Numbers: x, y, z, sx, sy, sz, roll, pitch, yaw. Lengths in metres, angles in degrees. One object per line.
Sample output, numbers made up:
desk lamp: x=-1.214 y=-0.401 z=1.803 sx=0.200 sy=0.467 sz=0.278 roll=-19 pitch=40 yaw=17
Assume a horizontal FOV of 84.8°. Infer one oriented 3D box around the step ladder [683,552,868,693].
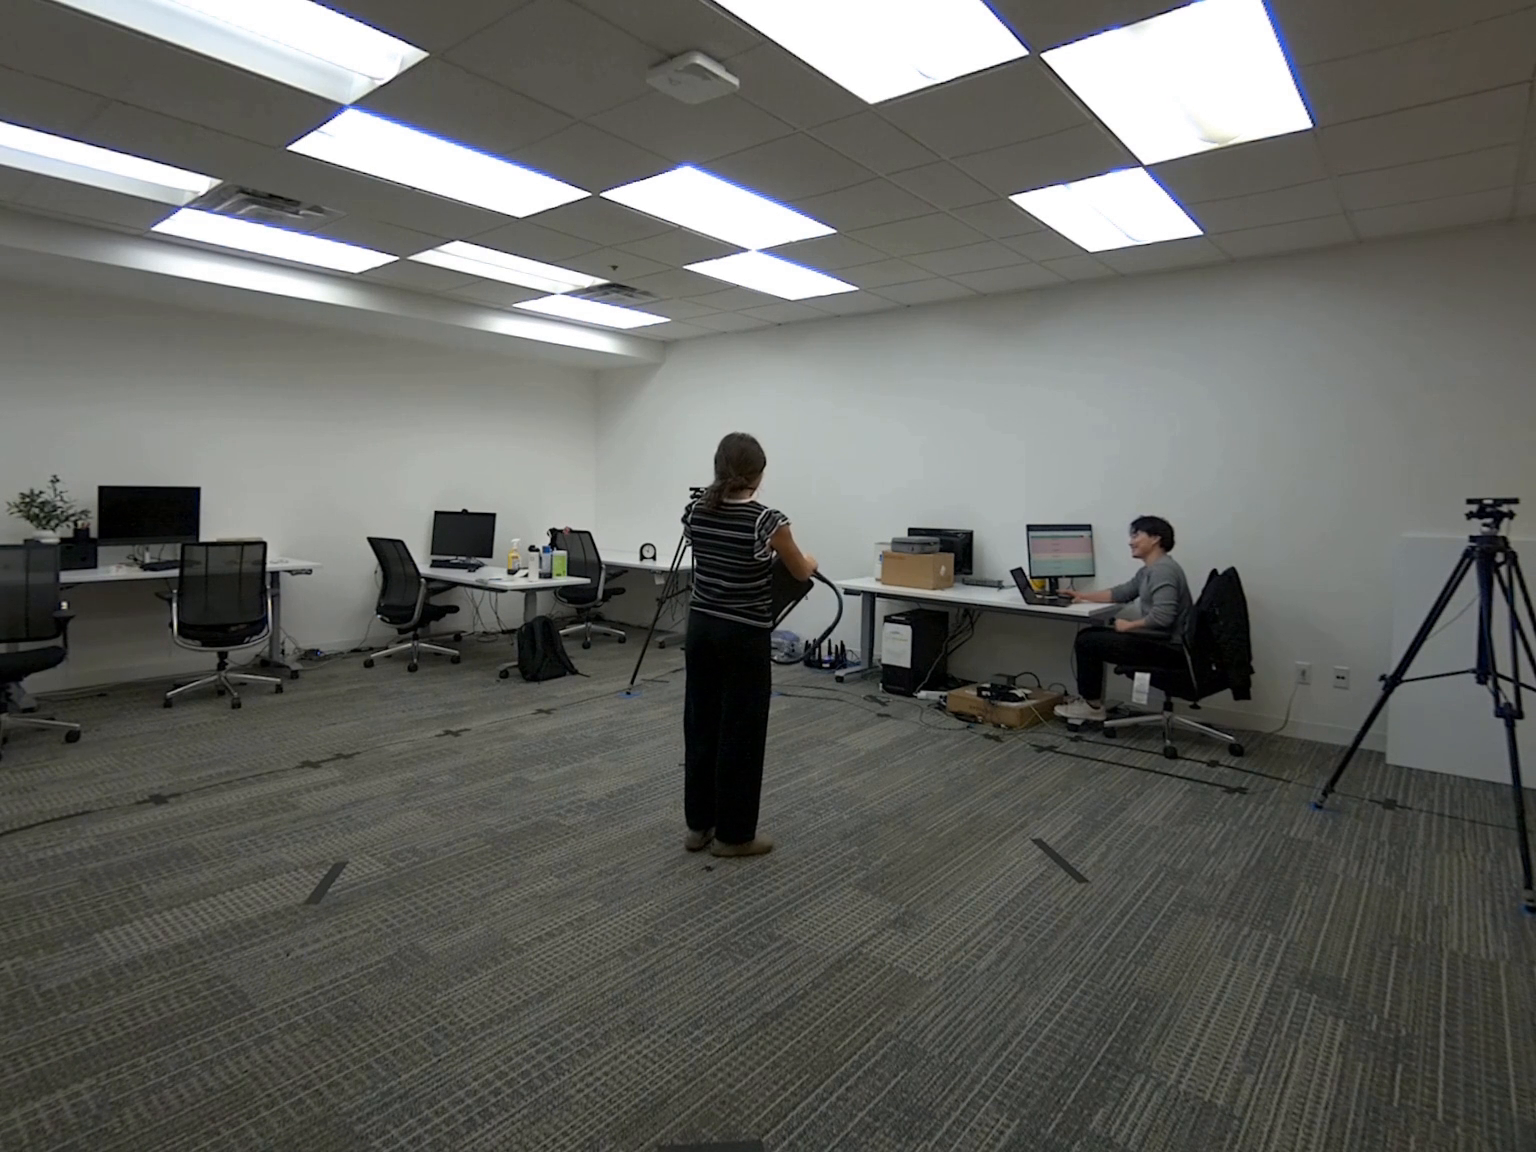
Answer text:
step ladder: x=0.014 y=0.096 z=3.567 sx=0.335 sy=0.430 sz=0.631 roll=44 pitch=-3 yaw=-36
